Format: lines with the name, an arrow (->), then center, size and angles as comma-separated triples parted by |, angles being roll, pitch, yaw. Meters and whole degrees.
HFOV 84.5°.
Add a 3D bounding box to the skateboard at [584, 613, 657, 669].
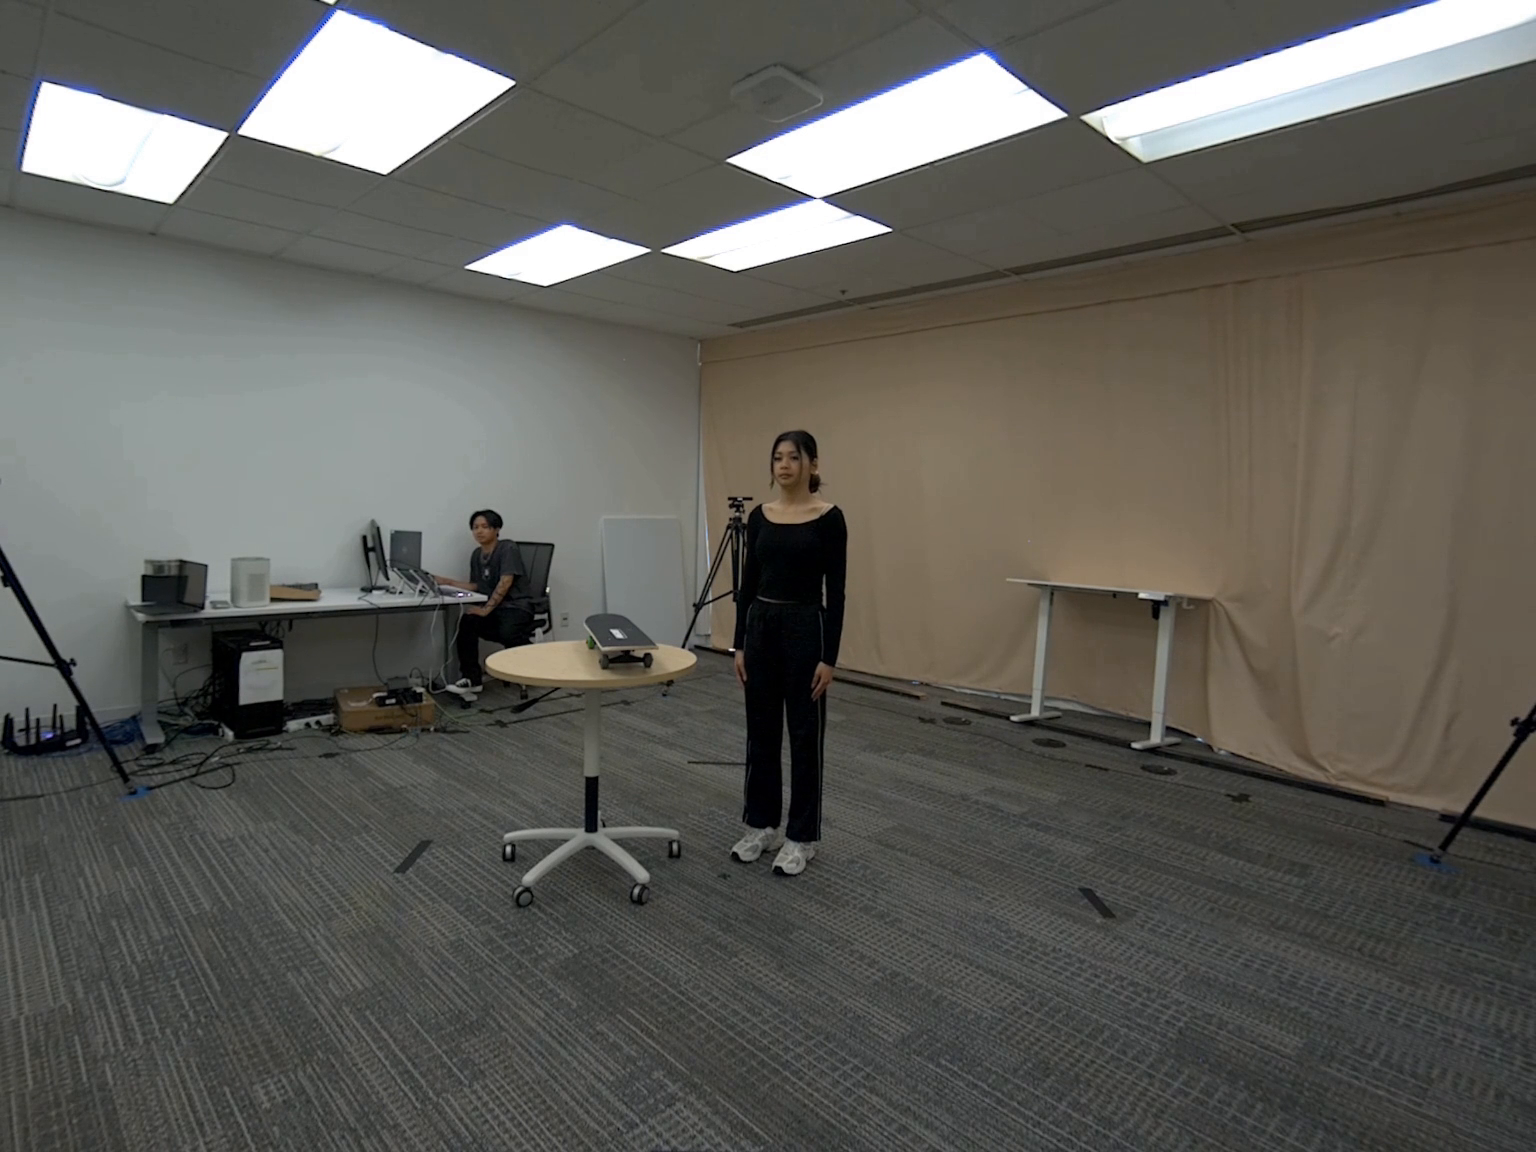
skateboard -> -0.565, 0.254, 3.121 | 0.191, 0.110, 0.798 | -1, 5, -18
